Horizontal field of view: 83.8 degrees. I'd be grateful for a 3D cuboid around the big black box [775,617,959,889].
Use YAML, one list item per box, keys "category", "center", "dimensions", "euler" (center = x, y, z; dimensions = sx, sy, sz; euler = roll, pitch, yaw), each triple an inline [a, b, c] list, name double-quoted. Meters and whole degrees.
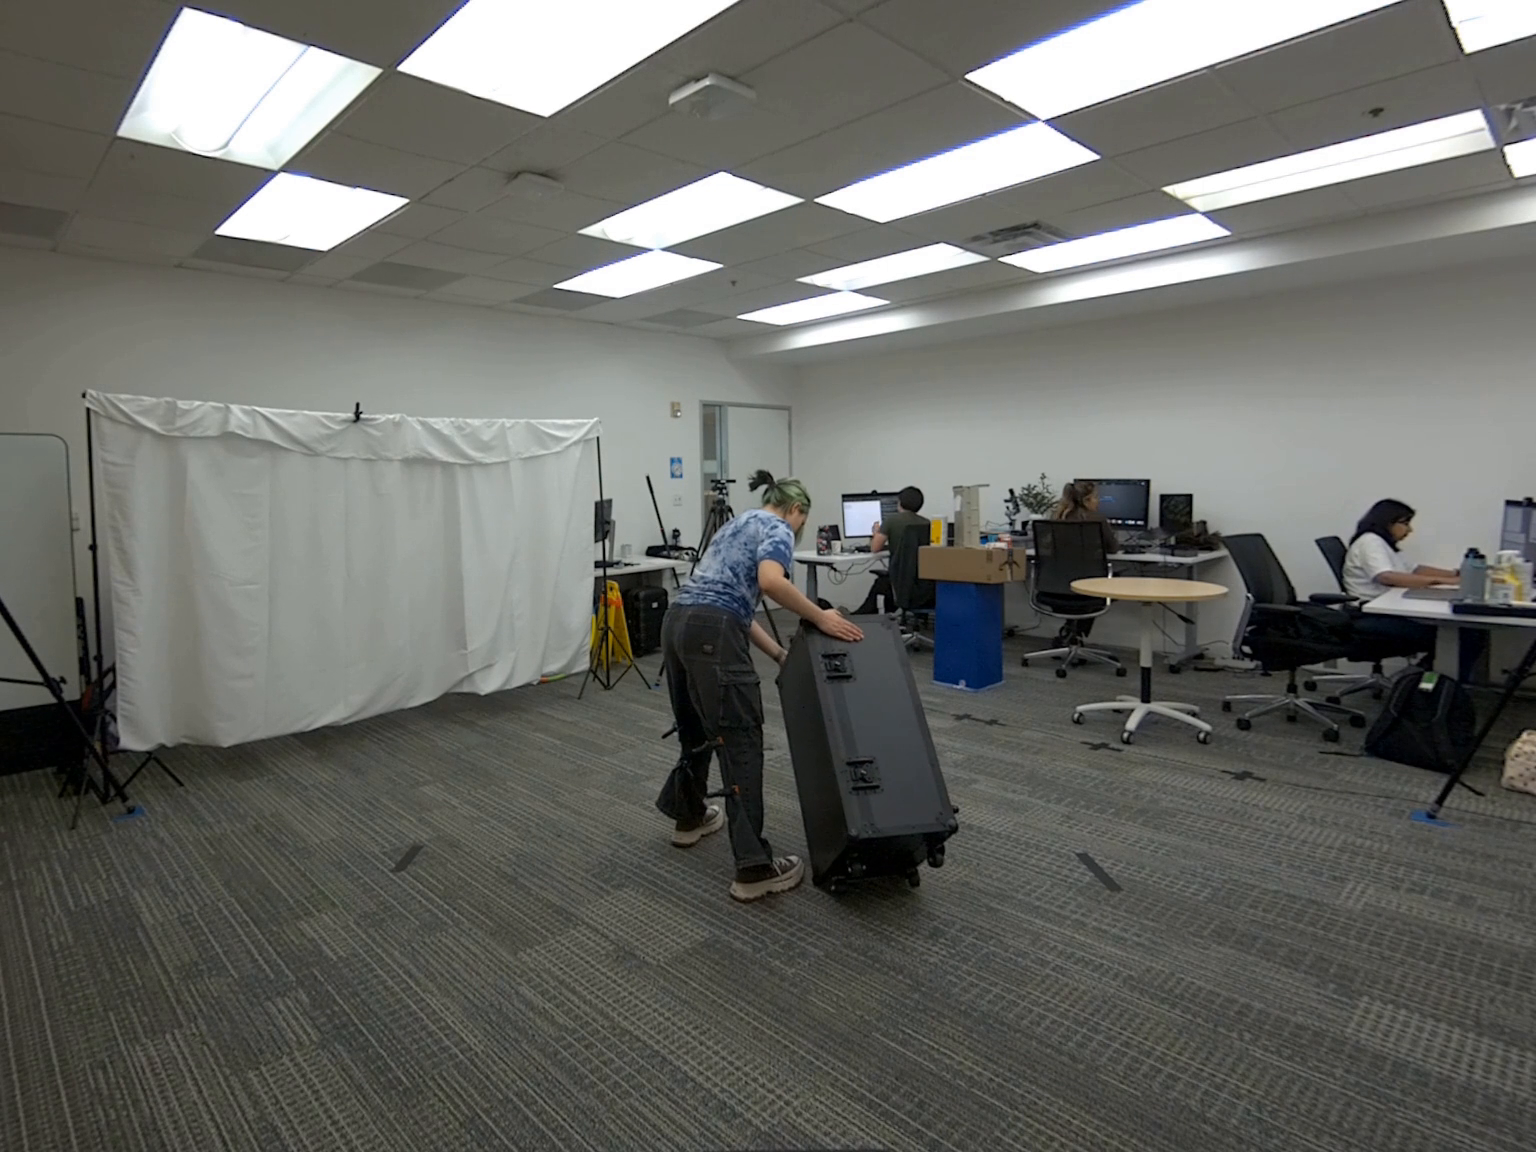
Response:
- category: "big black box"
  center: [0.325, 0.626, 2.999]
  dimensions: [0.392, 0.888, 0.512]
  euler: [-1, -36, -13]
